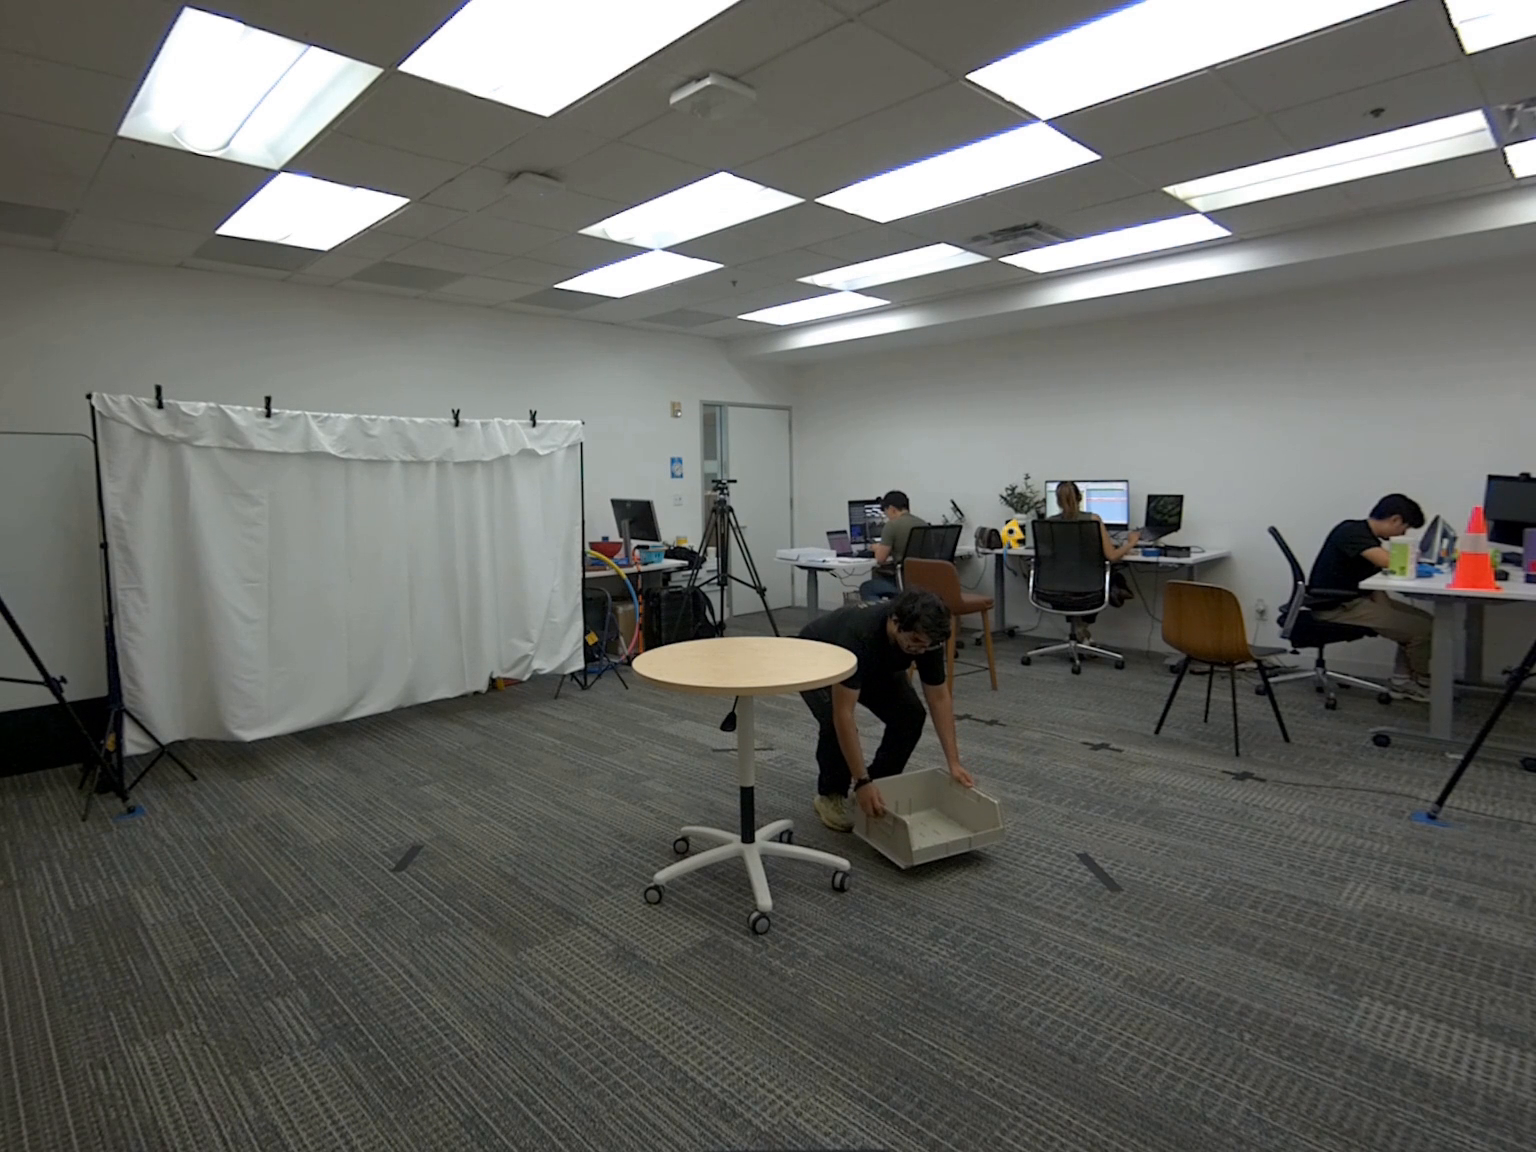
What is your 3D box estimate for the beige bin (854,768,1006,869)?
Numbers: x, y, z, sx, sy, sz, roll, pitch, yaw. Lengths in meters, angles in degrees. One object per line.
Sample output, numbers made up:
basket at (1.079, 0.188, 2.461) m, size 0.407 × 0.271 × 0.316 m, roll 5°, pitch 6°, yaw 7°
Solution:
beige bin at (0.586, 0.898, 3.151) m, size 0.413 × 0.187 × 0.388 m, roll -6°, pitch 10°, yaw -28°
